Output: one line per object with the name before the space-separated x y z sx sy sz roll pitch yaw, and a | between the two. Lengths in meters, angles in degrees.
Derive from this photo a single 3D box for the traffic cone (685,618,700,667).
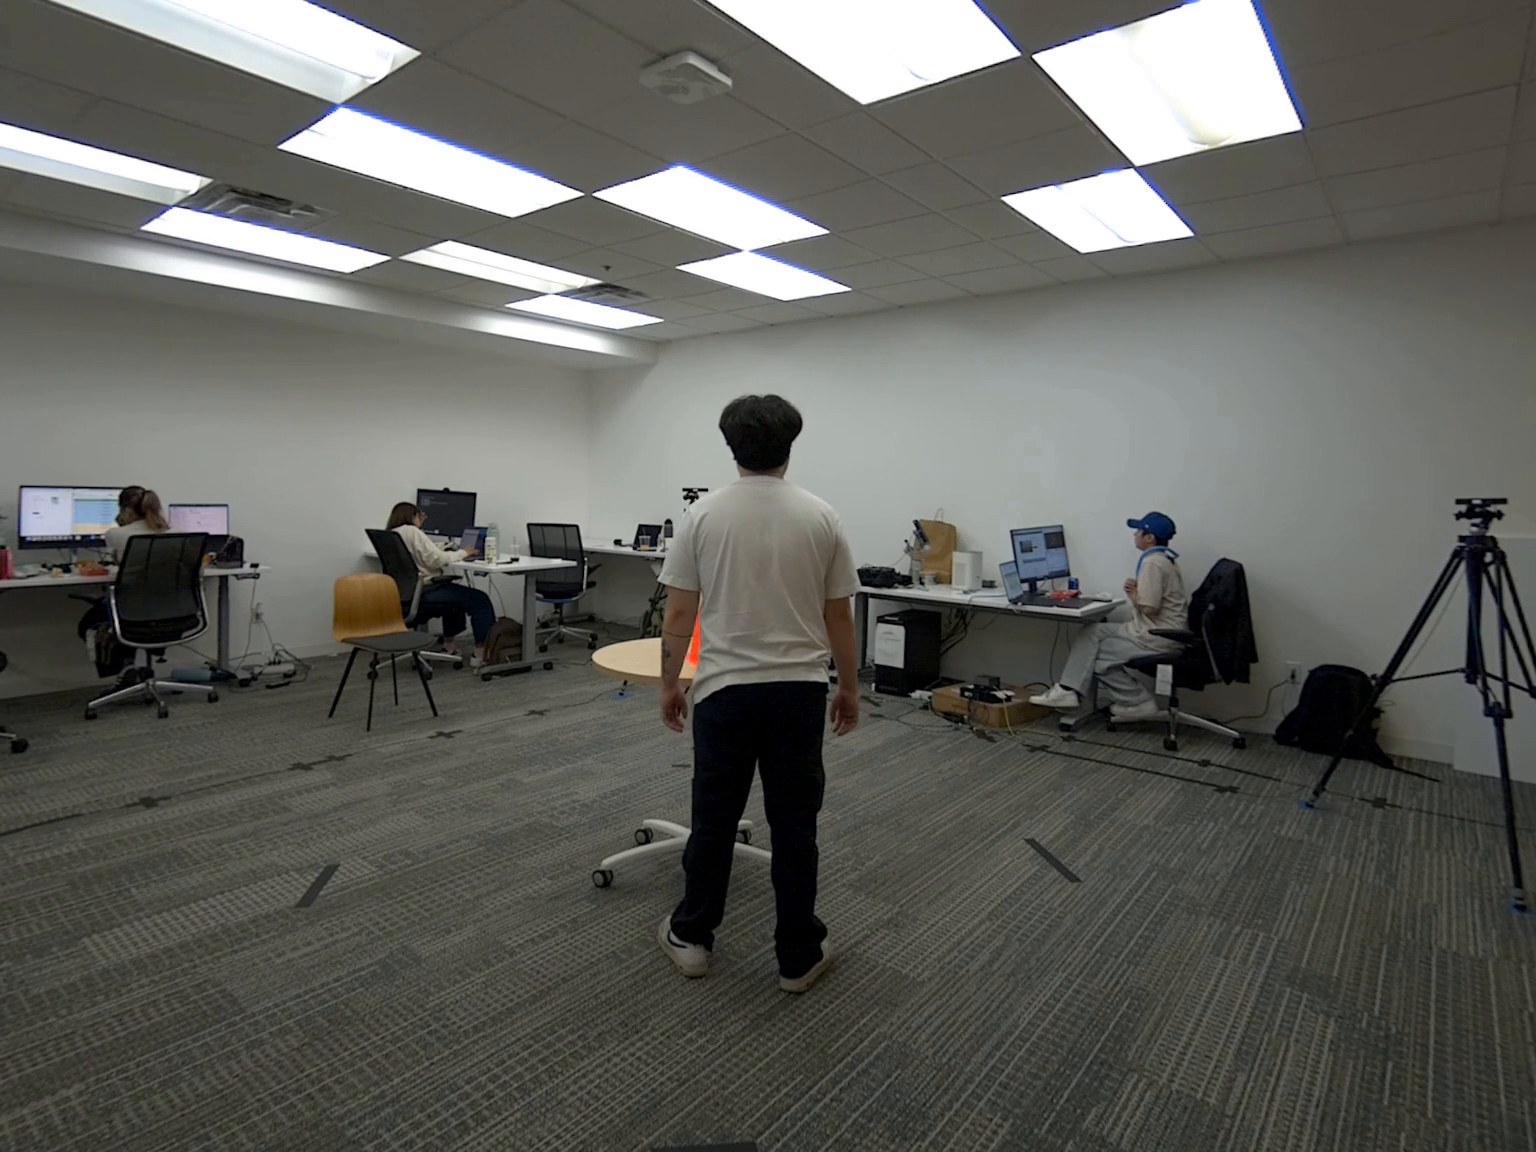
traffic cone | -0.206 0.100 2.957 0.199 0.382 0.209 -3 4 -33
